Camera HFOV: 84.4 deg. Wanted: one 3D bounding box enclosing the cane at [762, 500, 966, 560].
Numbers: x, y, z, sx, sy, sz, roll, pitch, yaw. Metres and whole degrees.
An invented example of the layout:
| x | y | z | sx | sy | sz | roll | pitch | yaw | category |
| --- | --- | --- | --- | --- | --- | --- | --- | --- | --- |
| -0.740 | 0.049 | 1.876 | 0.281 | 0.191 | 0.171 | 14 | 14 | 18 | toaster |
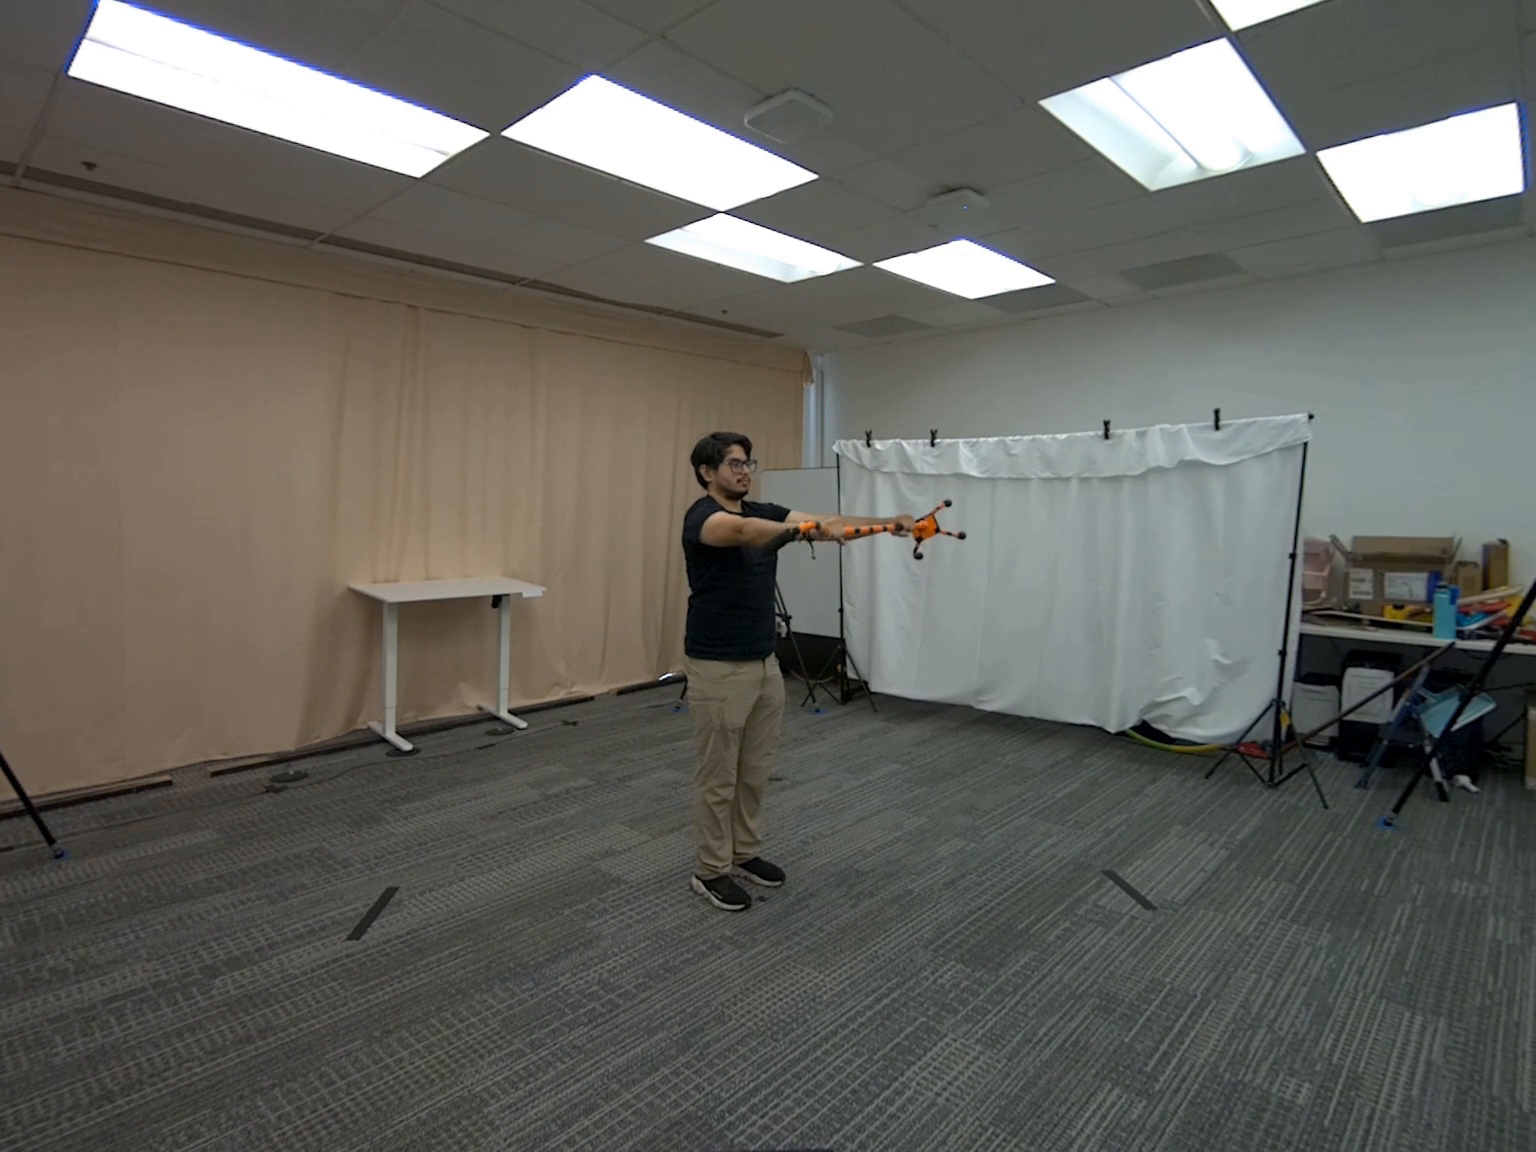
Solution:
| x | y | z | sx | sy | sz | roll | pitch | yaw | category |
| --- | --- | --- | --- | --- | --- | --- | --- | --- | --- |
| 0.321 | -0.131 | 2.614 | 0.210 | 0.153 | 0.881 | -28 | -13 | 37 | cane |
